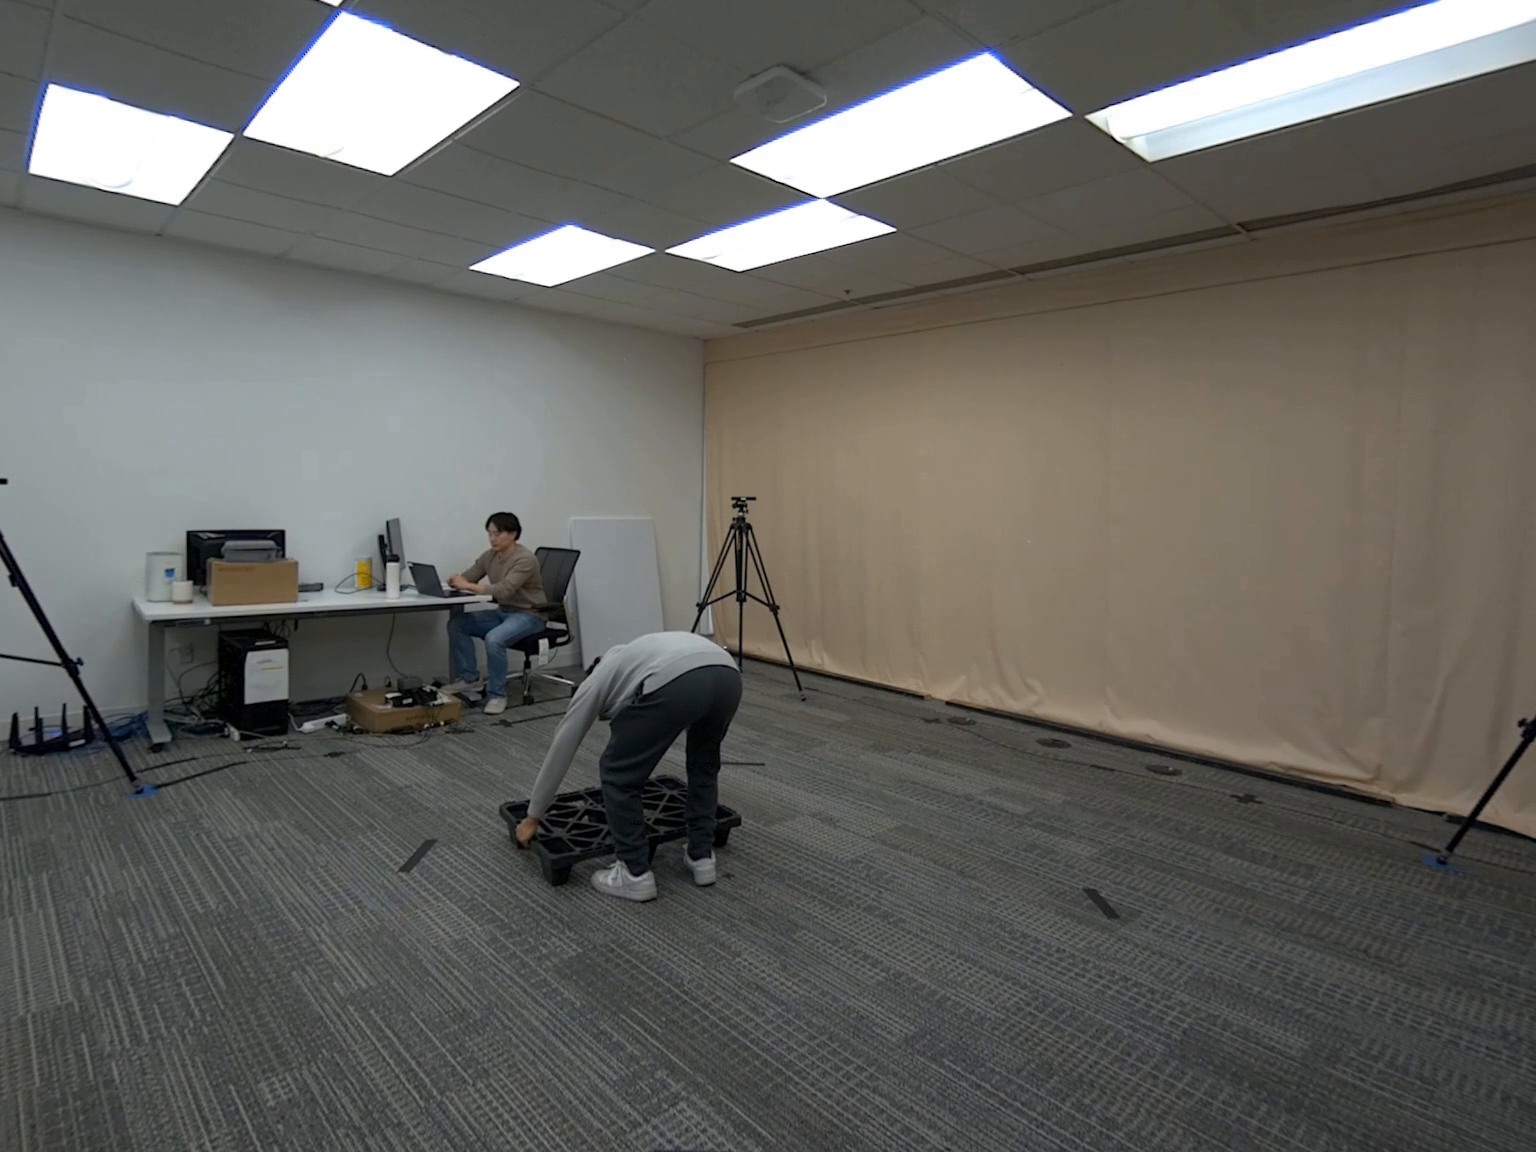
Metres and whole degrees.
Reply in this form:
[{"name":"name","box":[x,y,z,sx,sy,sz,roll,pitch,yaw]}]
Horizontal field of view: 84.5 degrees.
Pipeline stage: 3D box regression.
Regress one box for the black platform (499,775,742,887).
[{"name":"black platform","box":[-0.602,1.008,3.377,0.788,0.143,0.620,-2,7,-34]}]
